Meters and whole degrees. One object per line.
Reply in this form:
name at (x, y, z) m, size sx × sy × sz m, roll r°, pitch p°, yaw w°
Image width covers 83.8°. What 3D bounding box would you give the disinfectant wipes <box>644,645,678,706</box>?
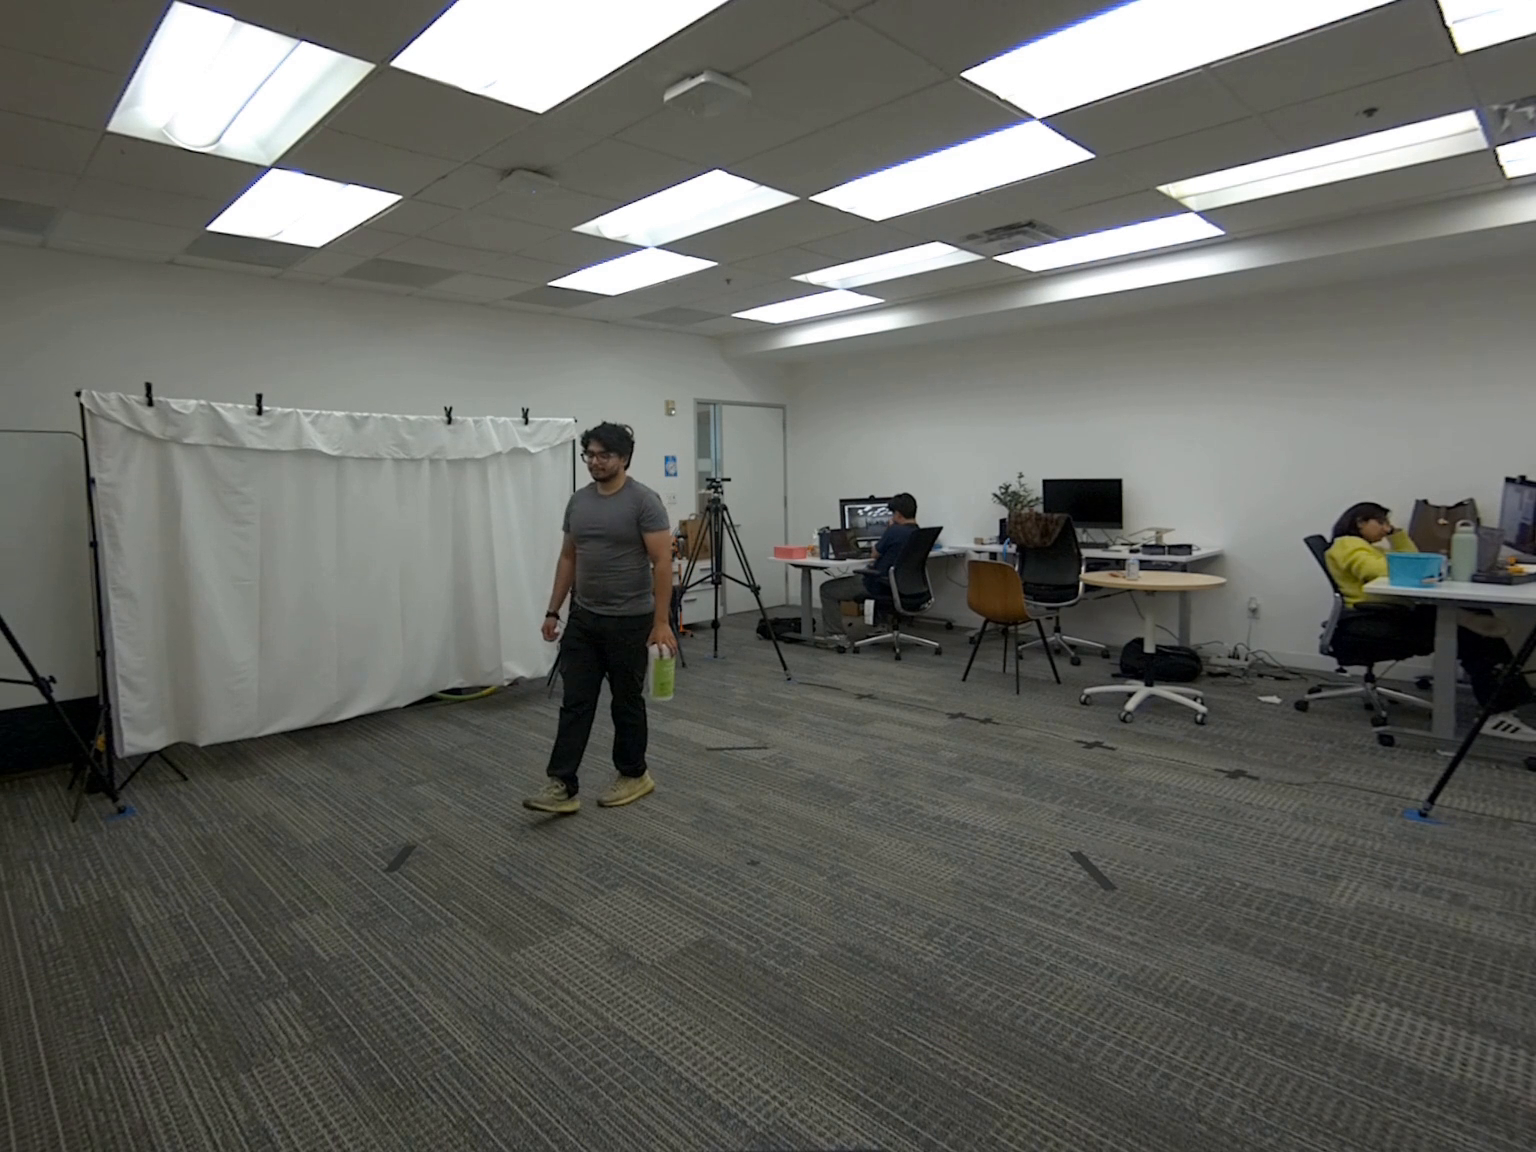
disinfectant wipes at (-0.444, 0.400, 3.504) m, size 0.117 × 0.215 × 0.119 m, roll 5°, pitch 12°, yaw -3°
